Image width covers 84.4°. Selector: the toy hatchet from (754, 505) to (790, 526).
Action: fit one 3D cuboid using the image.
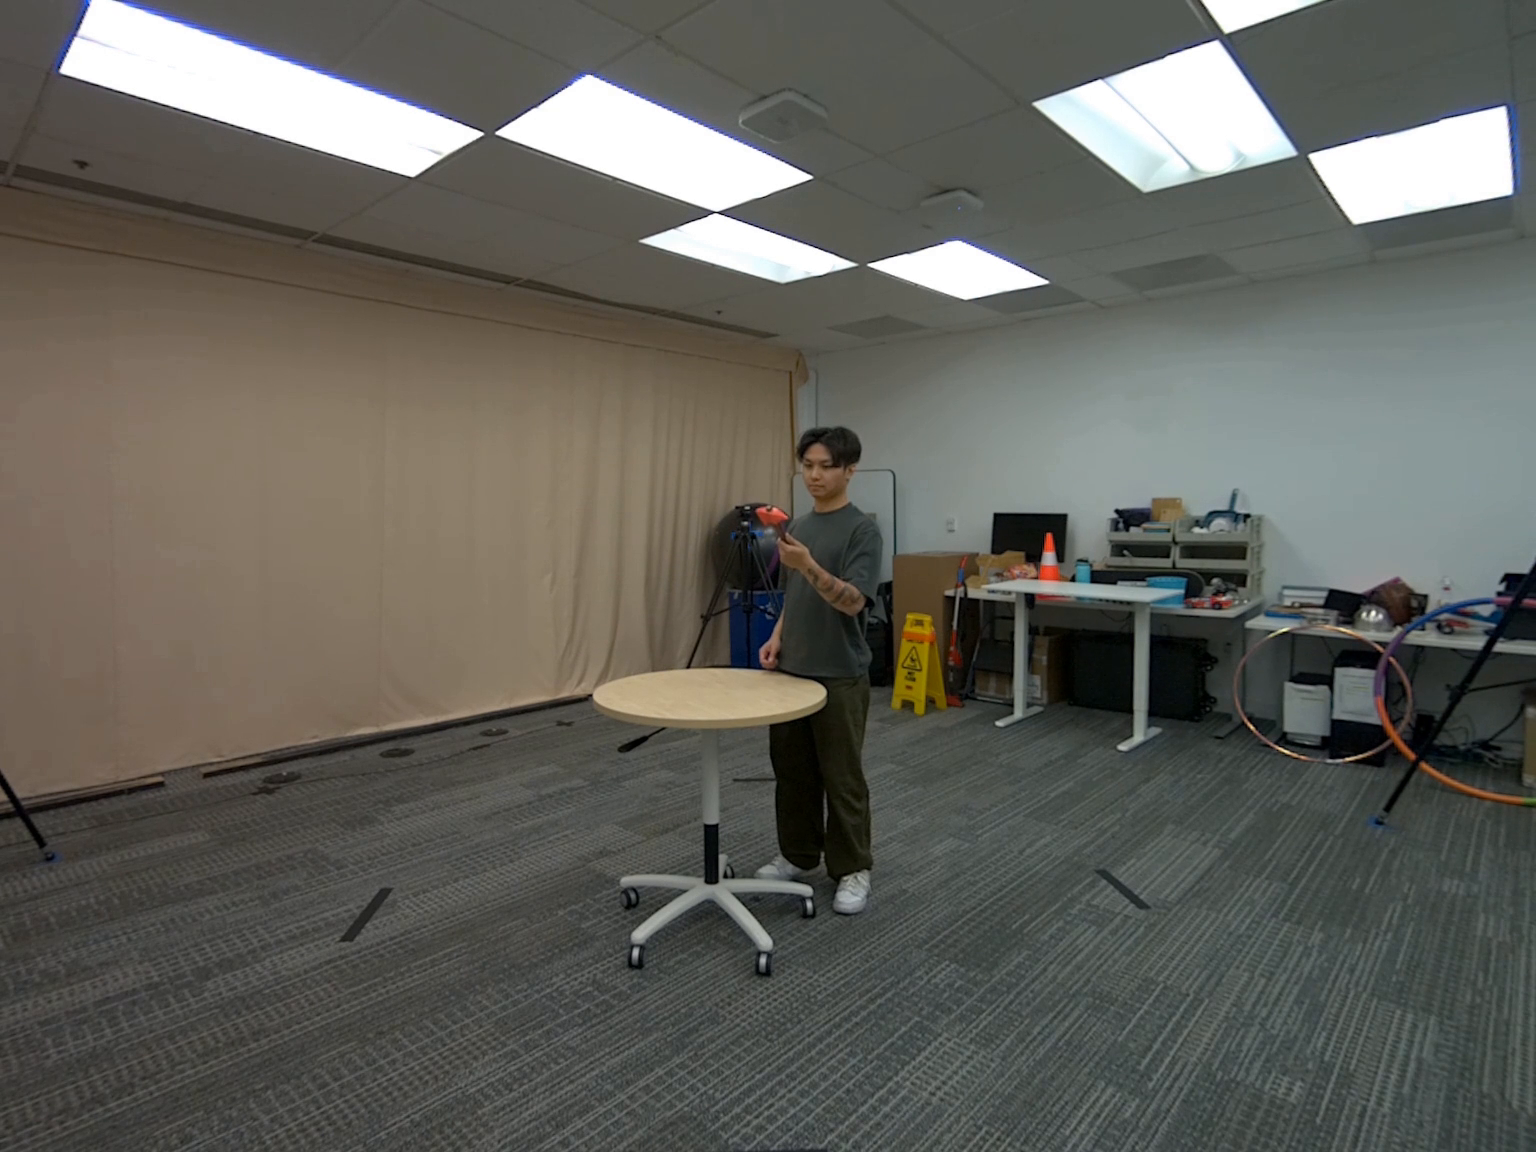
[{"bbox_3d":[0.032,-0.127,2.649,0.135,0.029,0.263,26,-29,26],"label":"toy hatchet"}]
